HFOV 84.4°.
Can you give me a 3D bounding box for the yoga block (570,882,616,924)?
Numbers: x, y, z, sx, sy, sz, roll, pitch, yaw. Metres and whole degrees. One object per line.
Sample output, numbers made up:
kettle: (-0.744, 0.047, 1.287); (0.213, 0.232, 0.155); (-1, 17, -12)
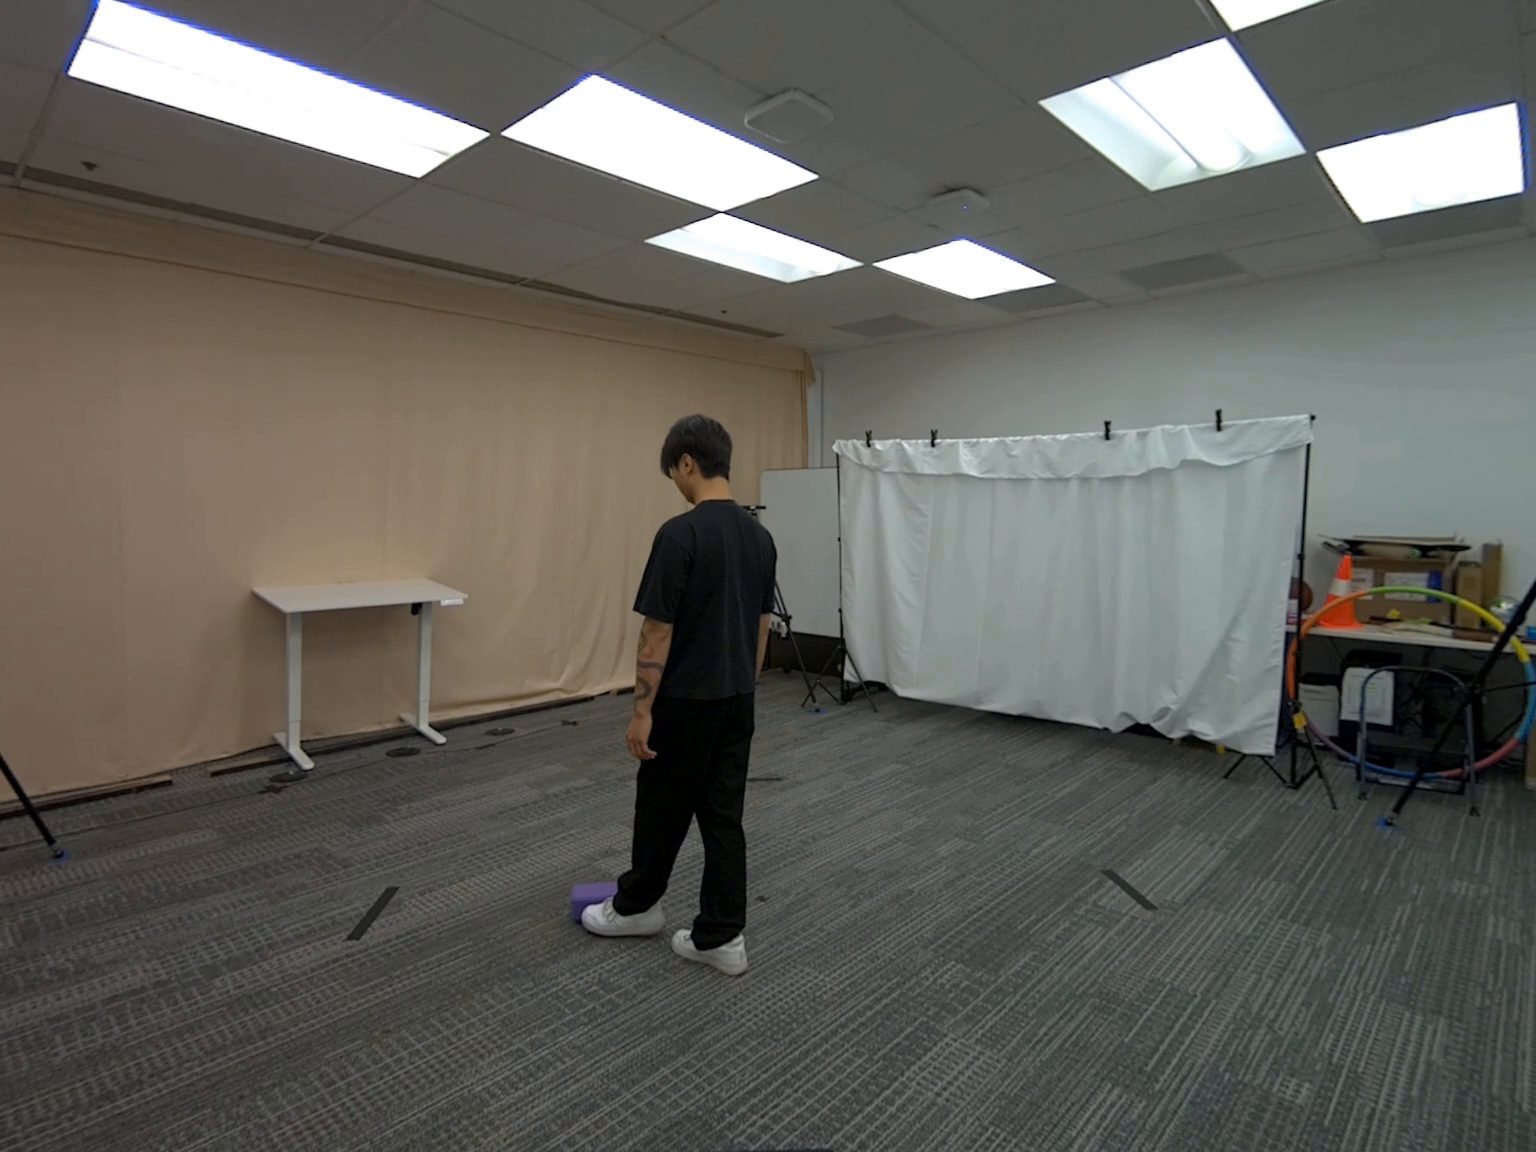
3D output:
yoga block: (-0.557, 1.113, 2.880); (0.227, 0.076, 0.150); (0, 0, -11)
